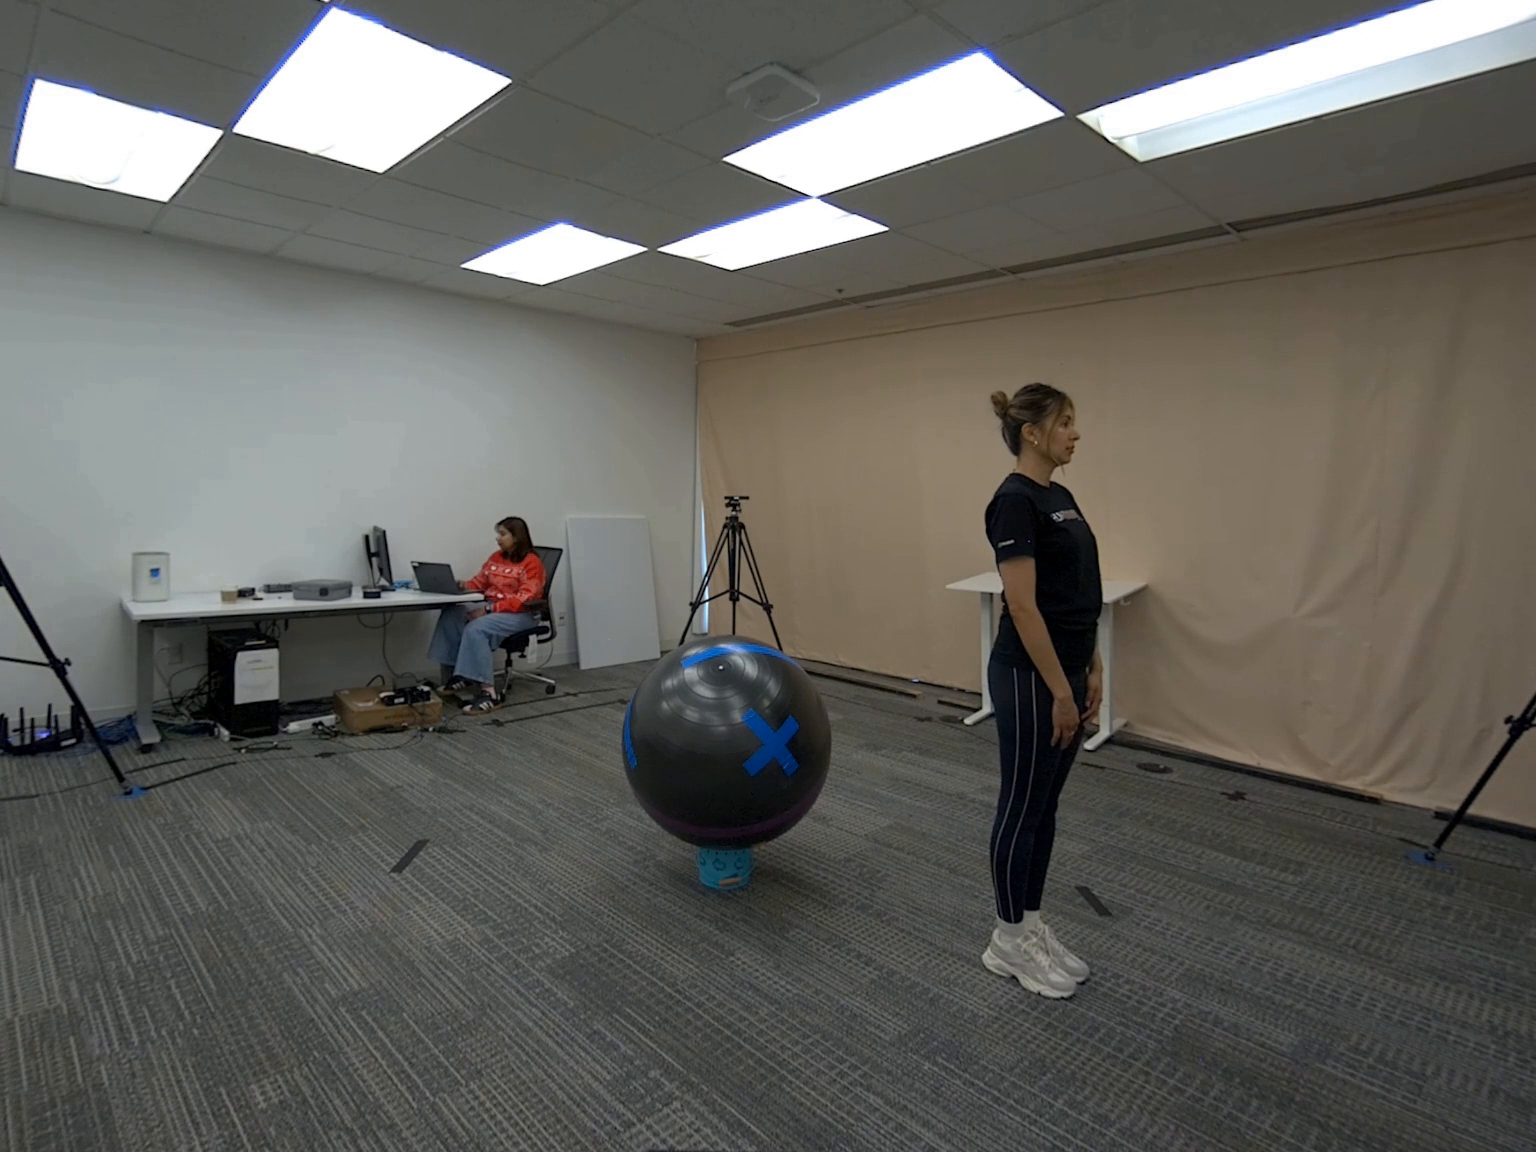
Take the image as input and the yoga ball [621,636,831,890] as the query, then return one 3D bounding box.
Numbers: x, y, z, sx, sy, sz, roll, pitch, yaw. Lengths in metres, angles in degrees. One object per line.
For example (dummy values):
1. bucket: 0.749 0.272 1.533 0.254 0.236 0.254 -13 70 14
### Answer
1. yoga ball: -0.154 0.599 3.049 0.757 0.756 0.761 1 4 -1
